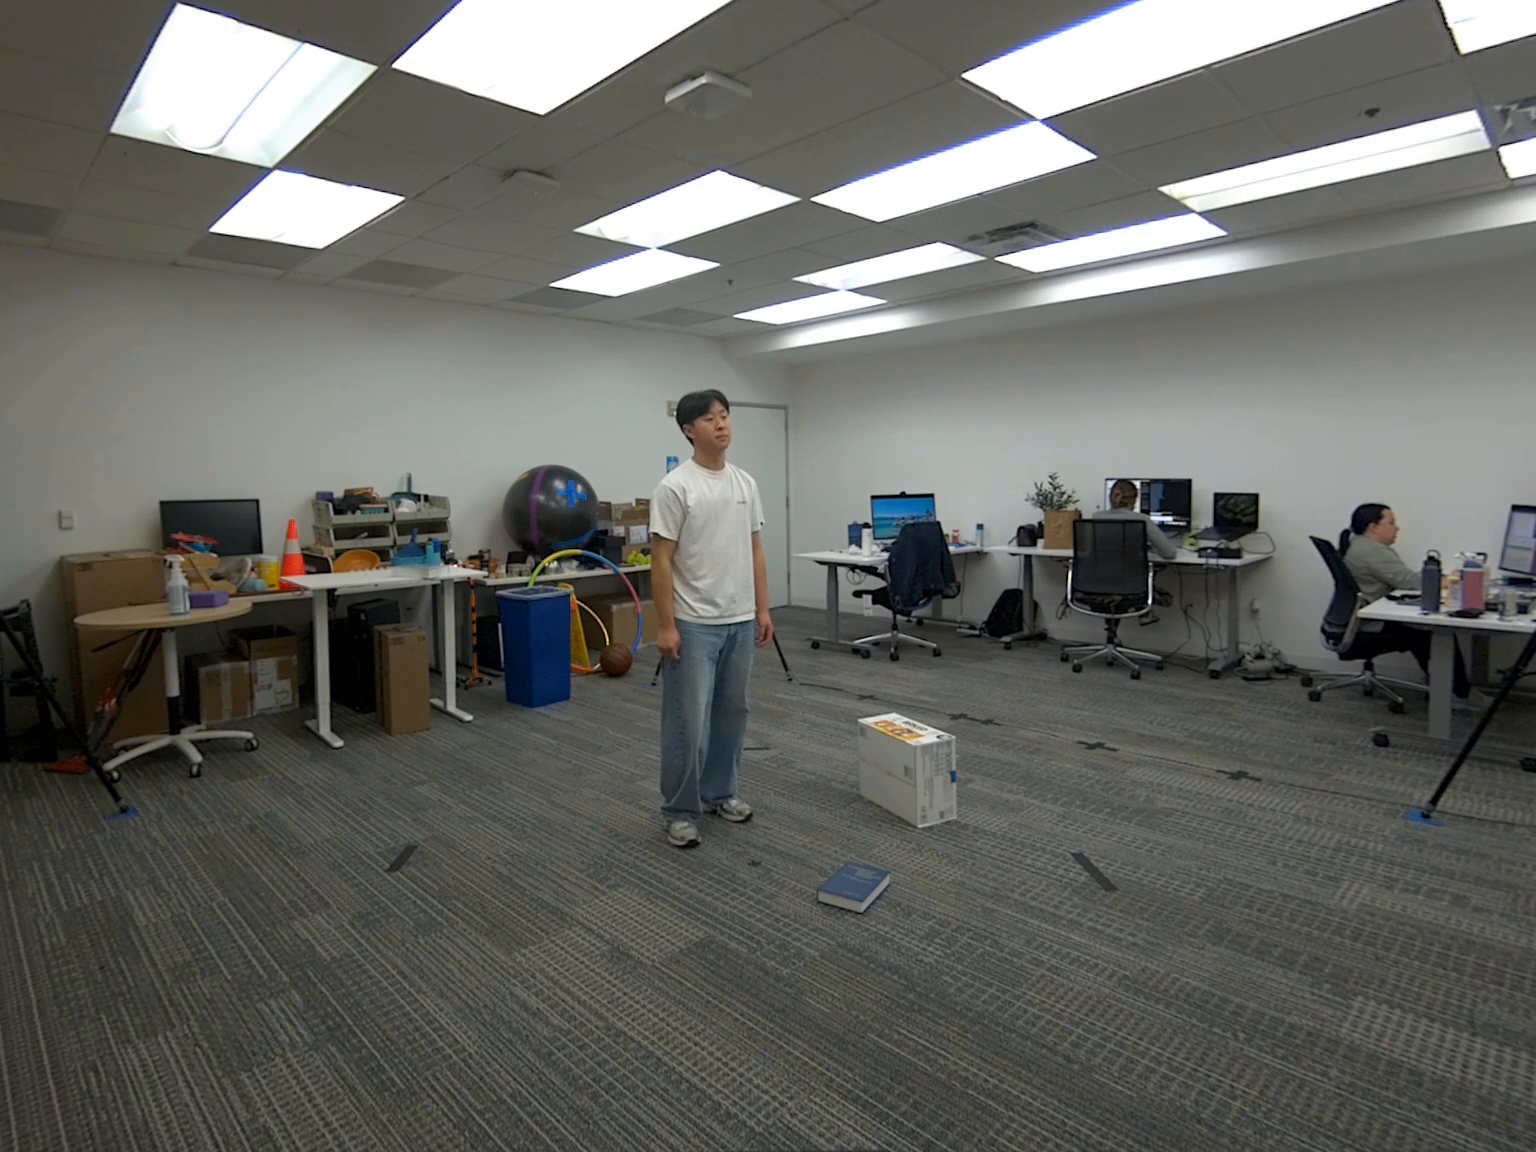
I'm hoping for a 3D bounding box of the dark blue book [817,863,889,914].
[{"bbox_3d":[0.299,1.044,2.868,0.168,0.045,0.240,3,7,31],"label":"dark blue book"}]
